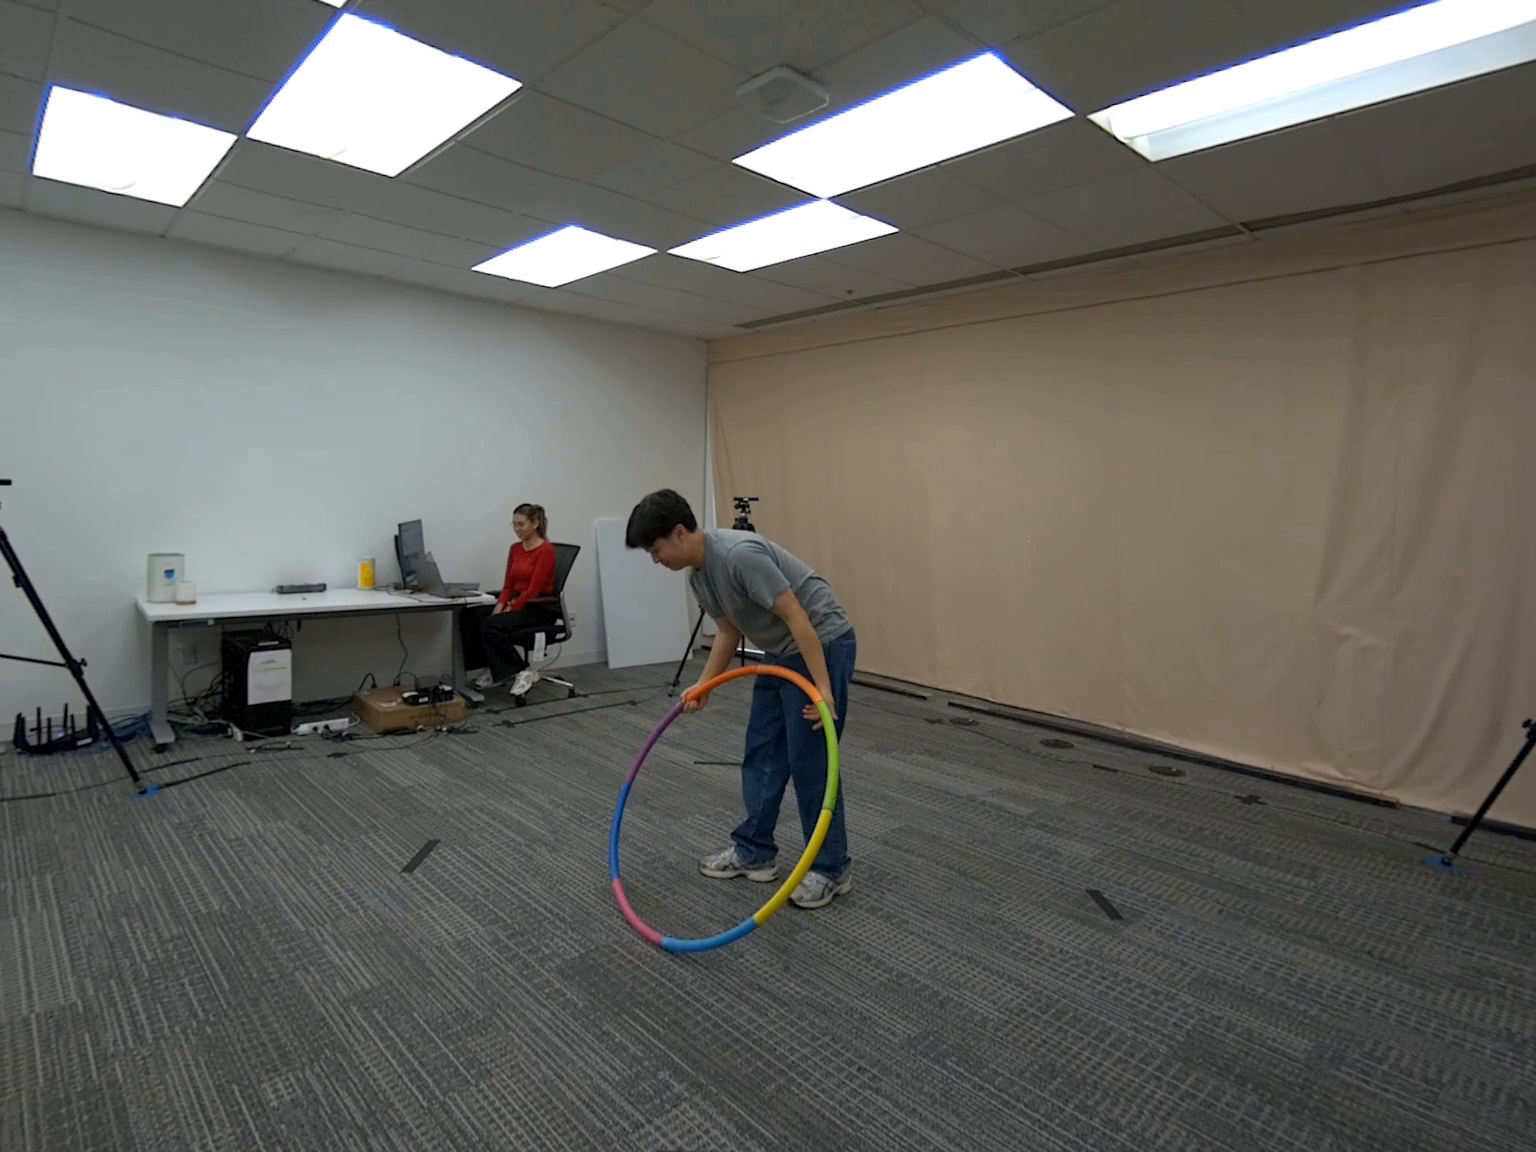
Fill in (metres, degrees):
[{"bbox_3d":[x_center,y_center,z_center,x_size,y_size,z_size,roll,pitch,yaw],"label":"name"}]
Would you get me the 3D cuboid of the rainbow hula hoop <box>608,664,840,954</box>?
[{"bbox_3d":[-0.196,0.730,2.796,0.034,0.982,1.003,41,-20,-34],"label":"rainbow hula hoop"}]
